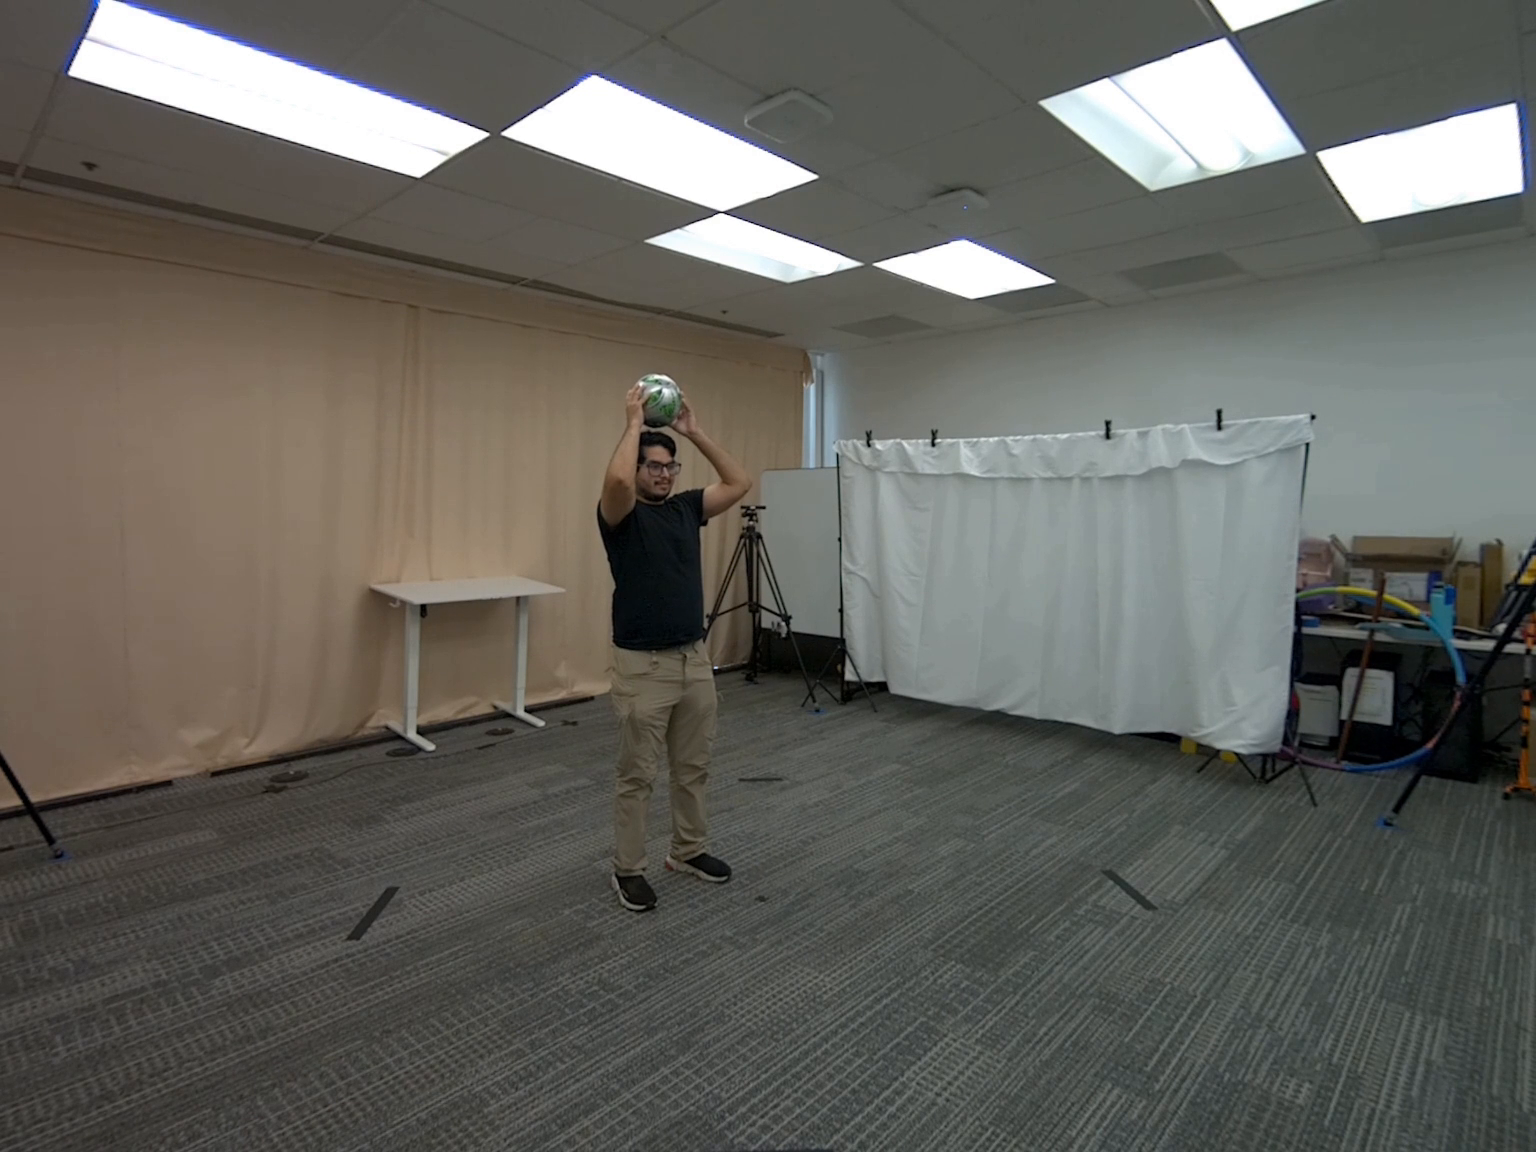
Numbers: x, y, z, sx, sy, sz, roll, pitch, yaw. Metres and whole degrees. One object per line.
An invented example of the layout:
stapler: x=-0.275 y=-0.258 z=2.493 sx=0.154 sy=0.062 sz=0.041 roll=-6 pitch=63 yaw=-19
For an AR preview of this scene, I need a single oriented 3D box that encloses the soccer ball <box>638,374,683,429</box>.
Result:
soccer ball: x=-0.399 y=-0.616 z=2.970 sx=0.187 sy=0.187 sz=0.188 roll=0 pitch=4 yaw=-2
